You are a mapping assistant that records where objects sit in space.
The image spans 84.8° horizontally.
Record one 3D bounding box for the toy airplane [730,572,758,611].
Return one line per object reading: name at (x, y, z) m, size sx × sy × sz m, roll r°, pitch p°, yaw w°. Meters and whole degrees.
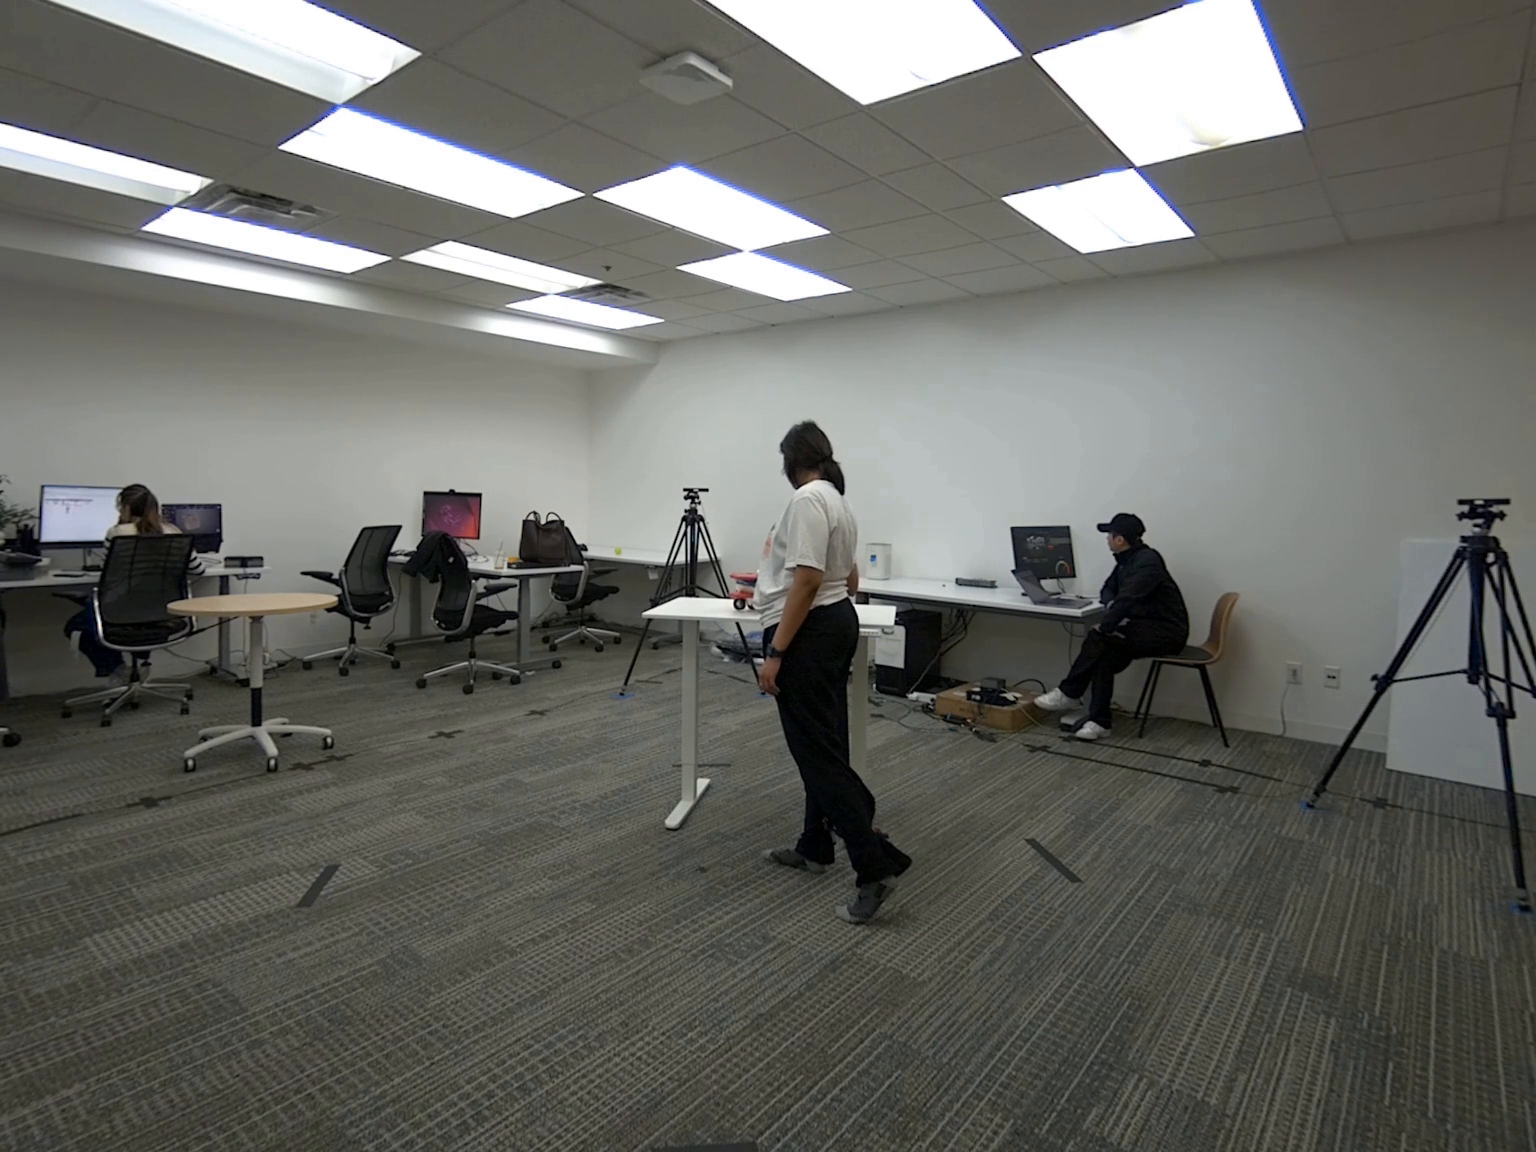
toy airplane at (-0.039, 0.056, 3.575) m, size 0.262 × 0.157 × 0.246 m, roll -7°, pitch -5°, yaw 12°
